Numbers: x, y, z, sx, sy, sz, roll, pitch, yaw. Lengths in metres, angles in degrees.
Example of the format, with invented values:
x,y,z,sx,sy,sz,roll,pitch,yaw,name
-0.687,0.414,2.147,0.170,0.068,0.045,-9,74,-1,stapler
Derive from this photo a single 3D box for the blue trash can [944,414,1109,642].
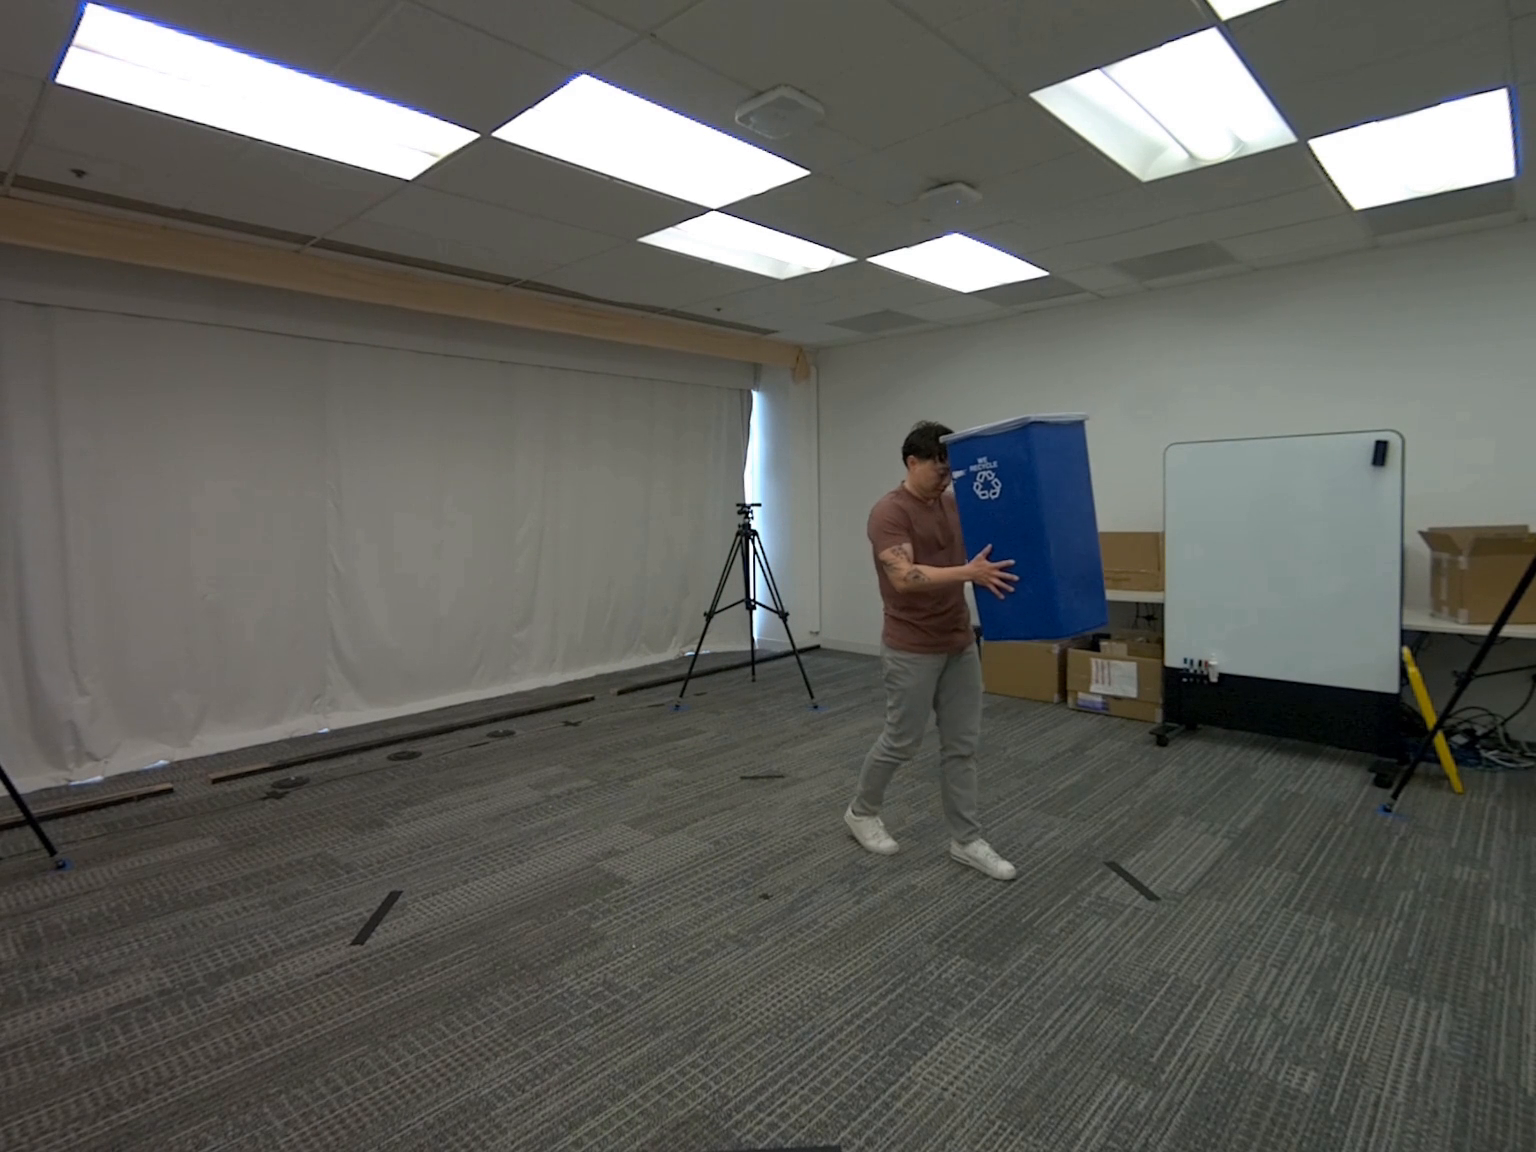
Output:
x,y,z,sx,sy,sz,roll,pitch,yaw,name
0.897,-0.163,2.855,0.367,0.714,0.384,-9,-1,-39,blue trash can
